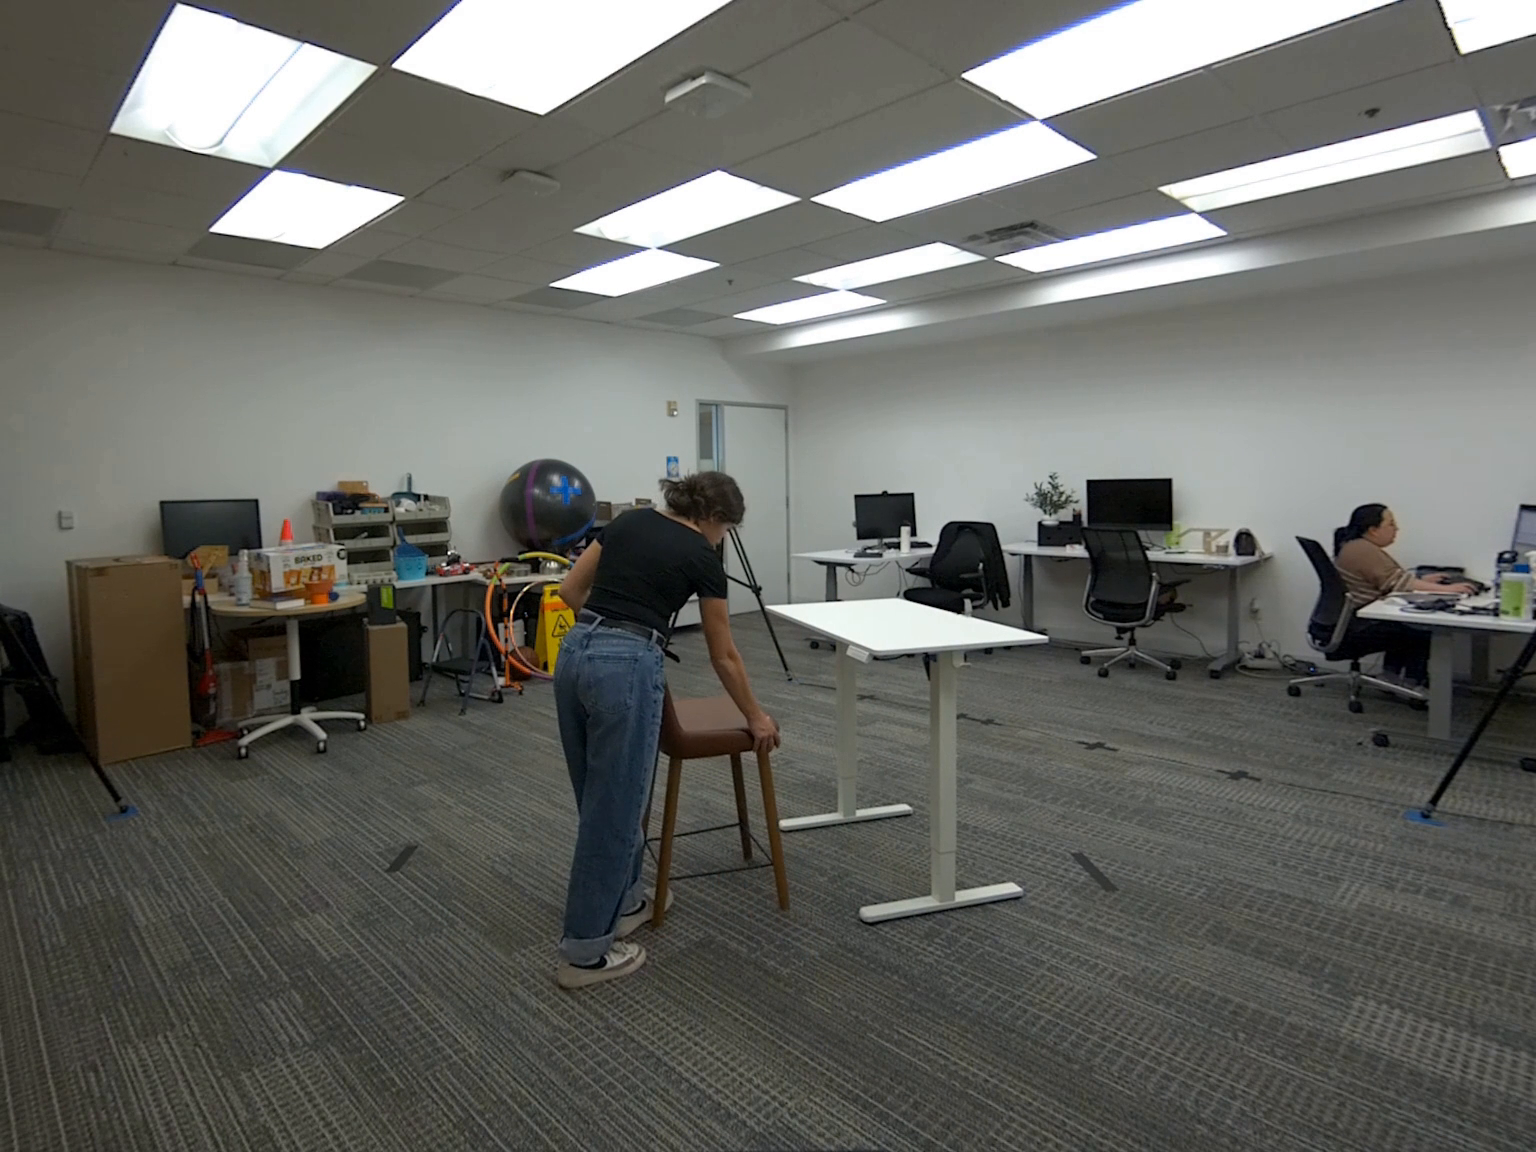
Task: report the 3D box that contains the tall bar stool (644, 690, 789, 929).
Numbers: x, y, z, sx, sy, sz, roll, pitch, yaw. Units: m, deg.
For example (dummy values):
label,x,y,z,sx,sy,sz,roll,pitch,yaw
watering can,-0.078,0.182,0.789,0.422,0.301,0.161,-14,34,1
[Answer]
label,x,y,z,sx,sy,sz,roll,pitch,yaw
tall bar stool,-0.216,0.636,2.876,0.461,0.886,0.465,-5,4,-18
